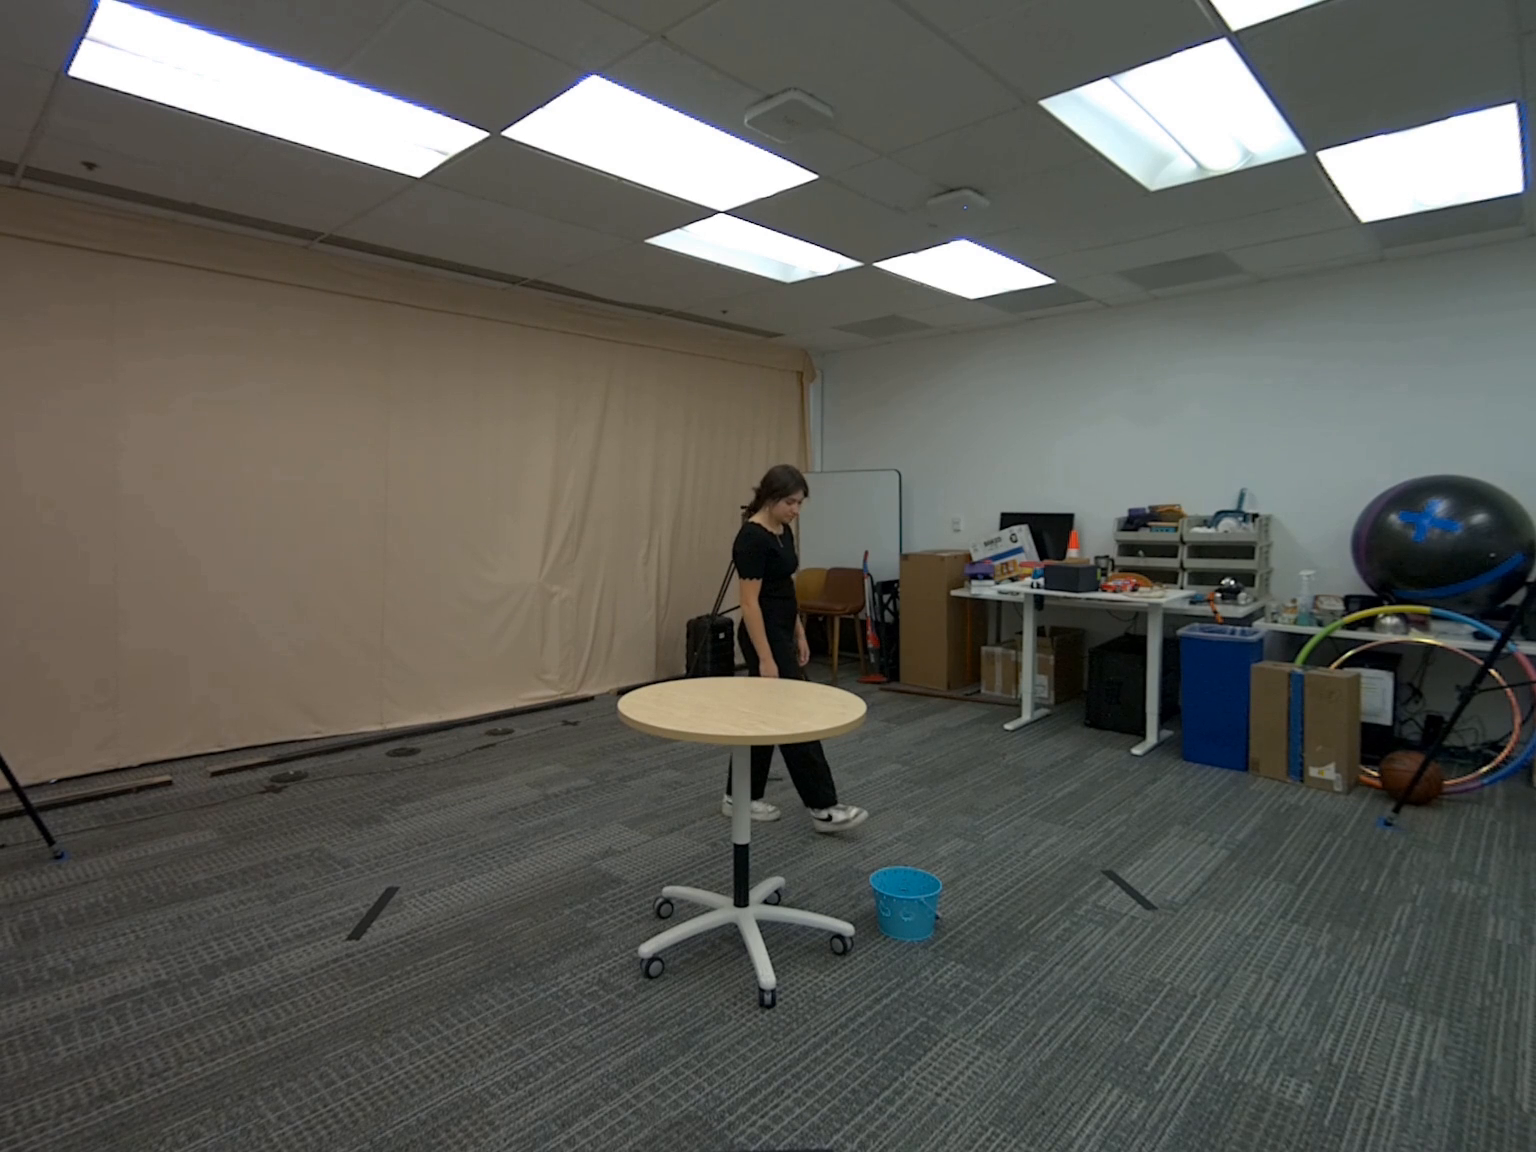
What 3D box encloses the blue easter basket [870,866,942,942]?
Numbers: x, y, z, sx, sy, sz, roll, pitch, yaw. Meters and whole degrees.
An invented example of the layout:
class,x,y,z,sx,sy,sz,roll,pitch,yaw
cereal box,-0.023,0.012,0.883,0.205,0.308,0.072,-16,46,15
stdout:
class,x,y,z,sx,sy,sz,roll,pitch,yaw
blue easter basket,0.450,1.081,2.776,0.243,0.155,0.244,0,4,-2
